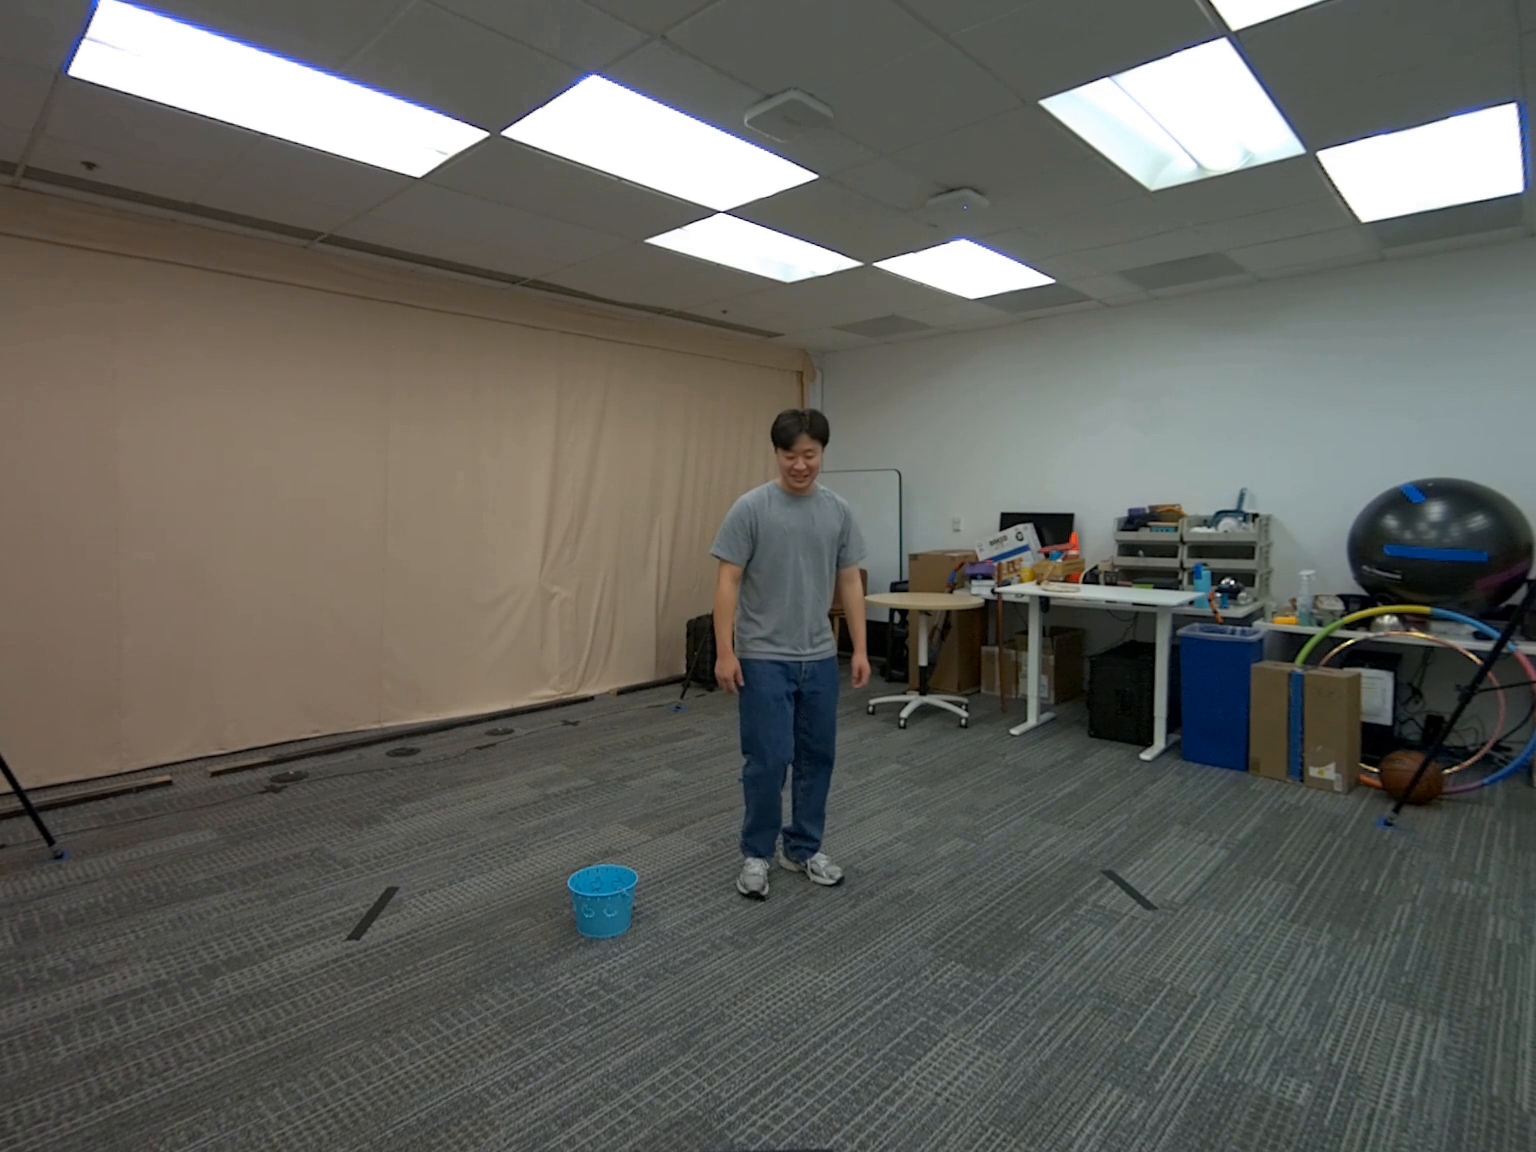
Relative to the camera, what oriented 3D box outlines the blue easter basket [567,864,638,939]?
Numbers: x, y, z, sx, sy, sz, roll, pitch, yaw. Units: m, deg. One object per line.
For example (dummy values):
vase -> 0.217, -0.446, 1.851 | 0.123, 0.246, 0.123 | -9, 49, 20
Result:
blue easter basket -> -0.541, 1.085, 2.802 | 0.243, 0.155, 0.244 | 0, 4, -2
